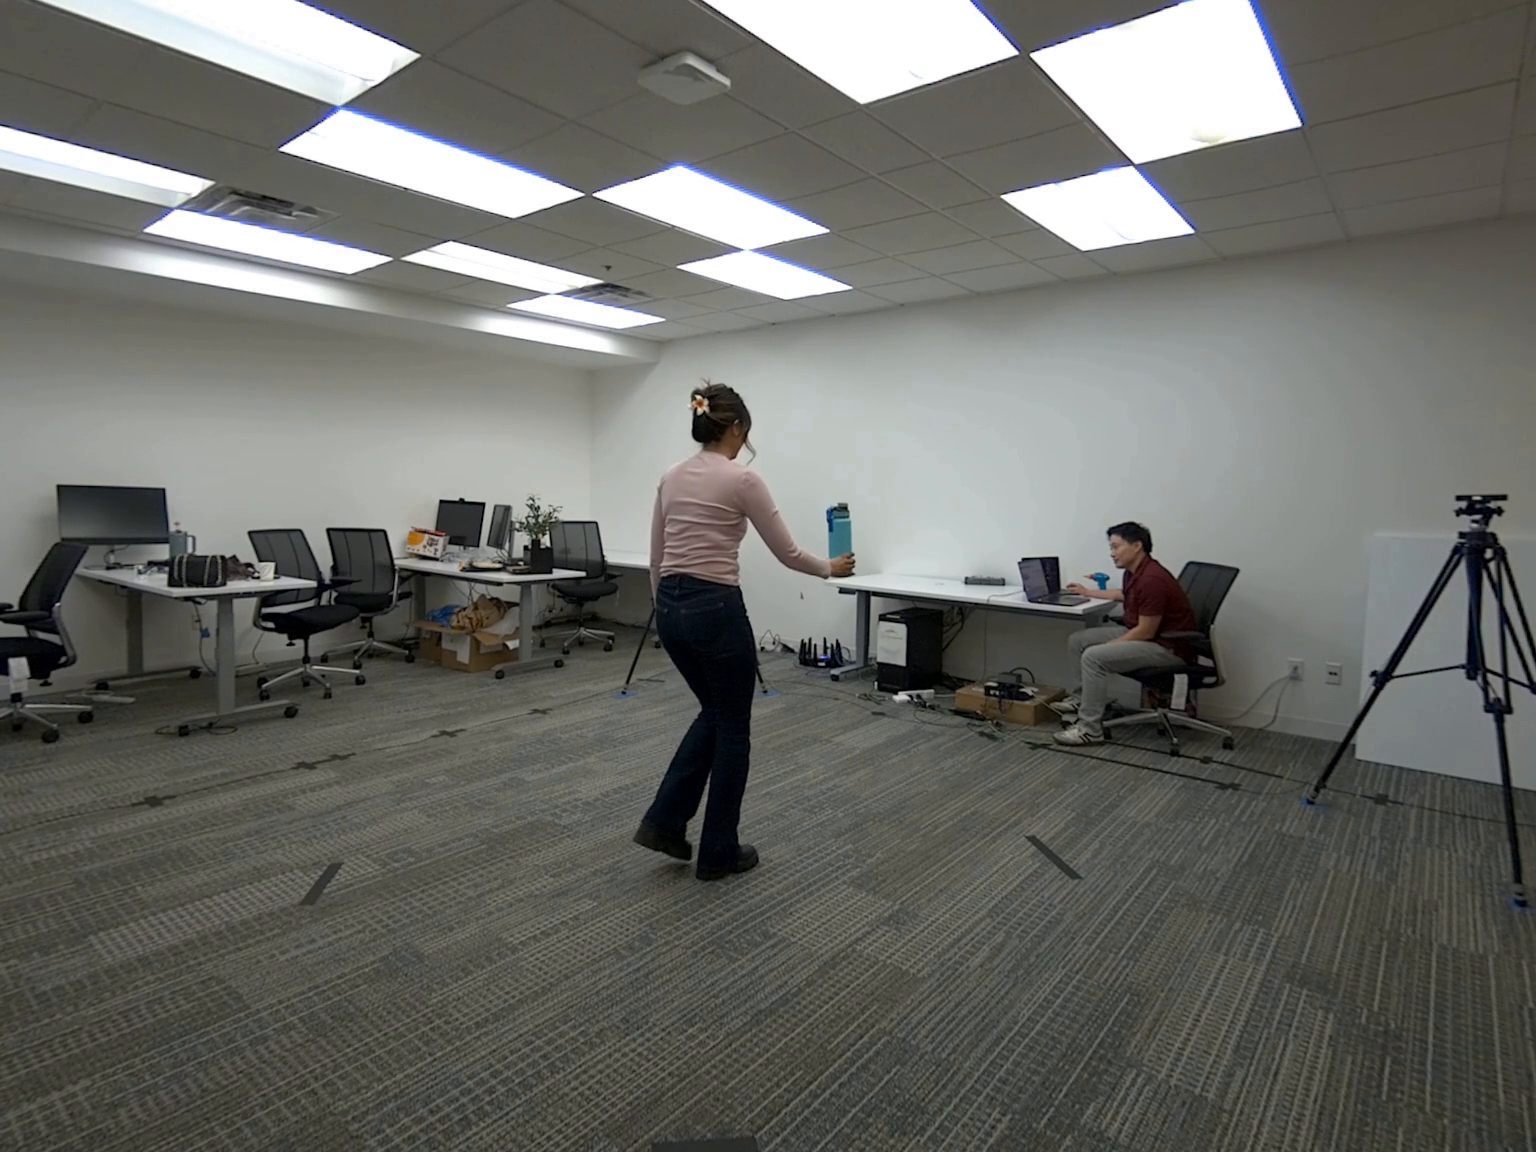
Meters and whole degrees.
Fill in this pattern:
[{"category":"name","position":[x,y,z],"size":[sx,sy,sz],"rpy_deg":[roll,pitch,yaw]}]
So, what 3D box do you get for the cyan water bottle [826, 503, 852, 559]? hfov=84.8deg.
[{"category":"cyan water bottle","position":[0.259,-0.140,3.268],"size":[0.092,0.281,0.093],"rpy_deg":[-4,6,-1]}]
